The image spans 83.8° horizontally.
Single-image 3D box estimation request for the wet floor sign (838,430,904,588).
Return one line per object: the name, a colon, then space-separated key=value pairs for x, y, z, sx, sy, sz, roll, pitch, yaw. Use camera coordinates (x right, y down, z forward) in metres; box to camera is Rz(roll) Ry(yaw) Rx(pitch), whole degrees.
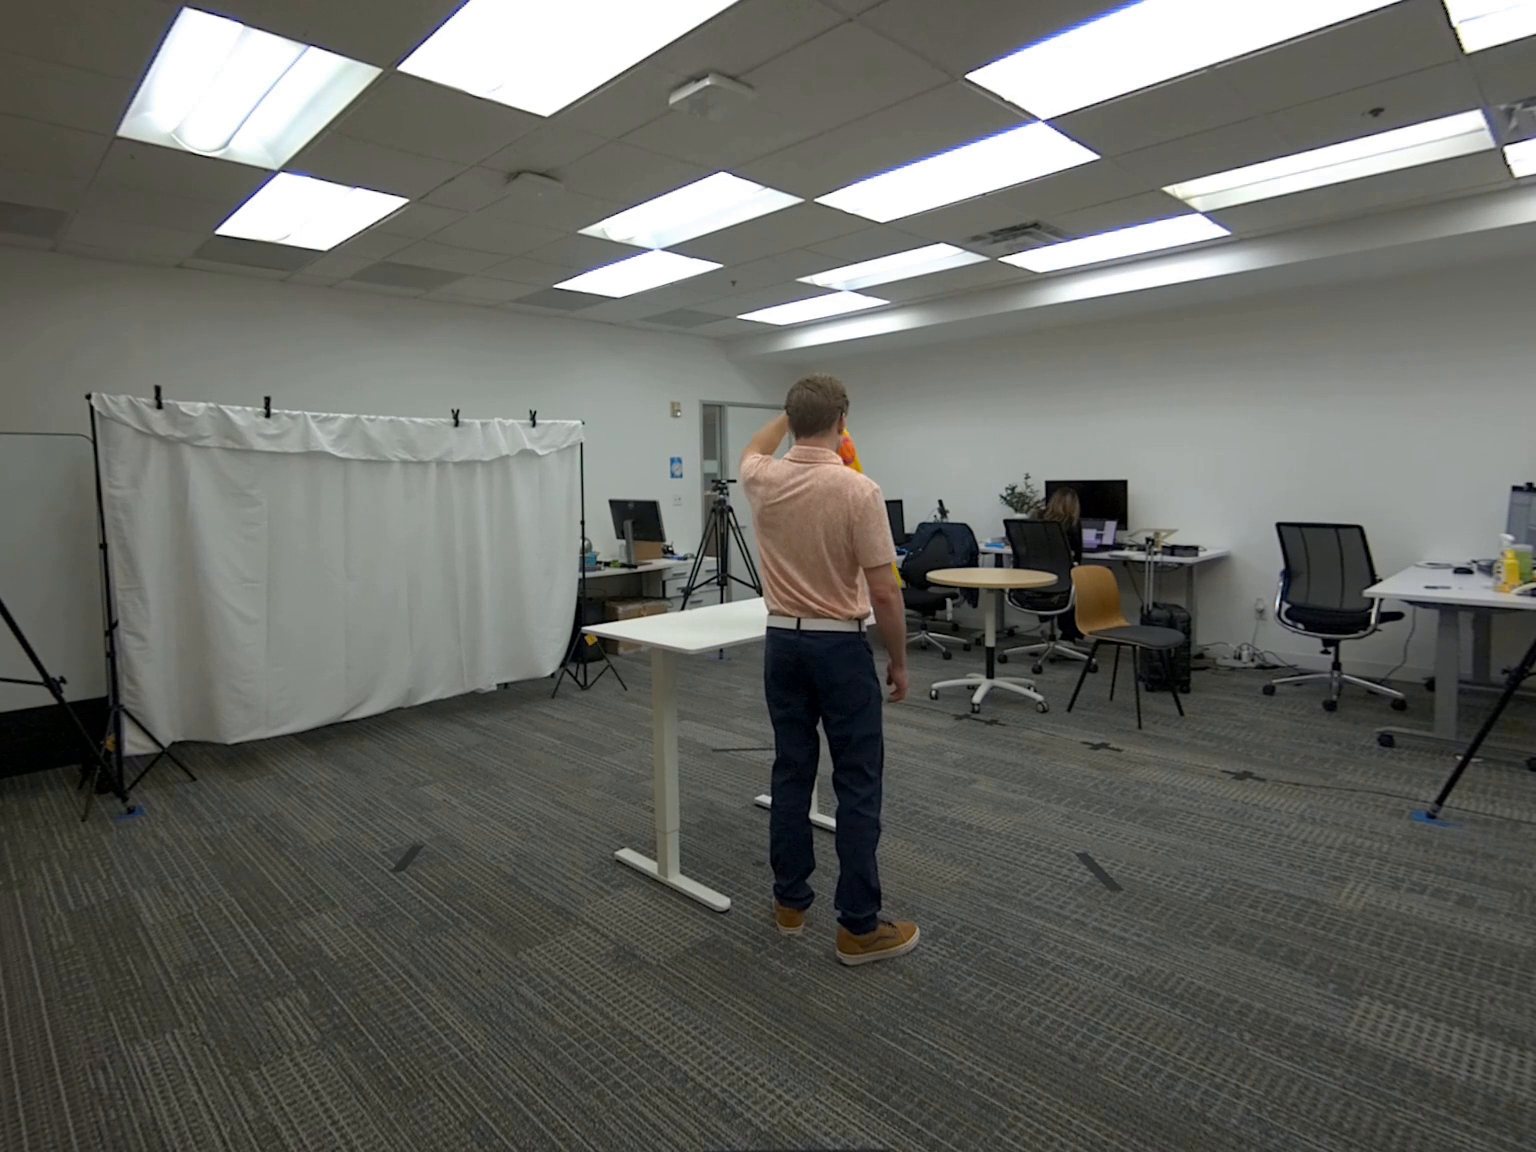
wet floor sign: x=0.236 y=-0.246 z=2.983 sx=0.284 sy=0.642 sz=0.289 roll=-14 pitch=7 yaw=-31
